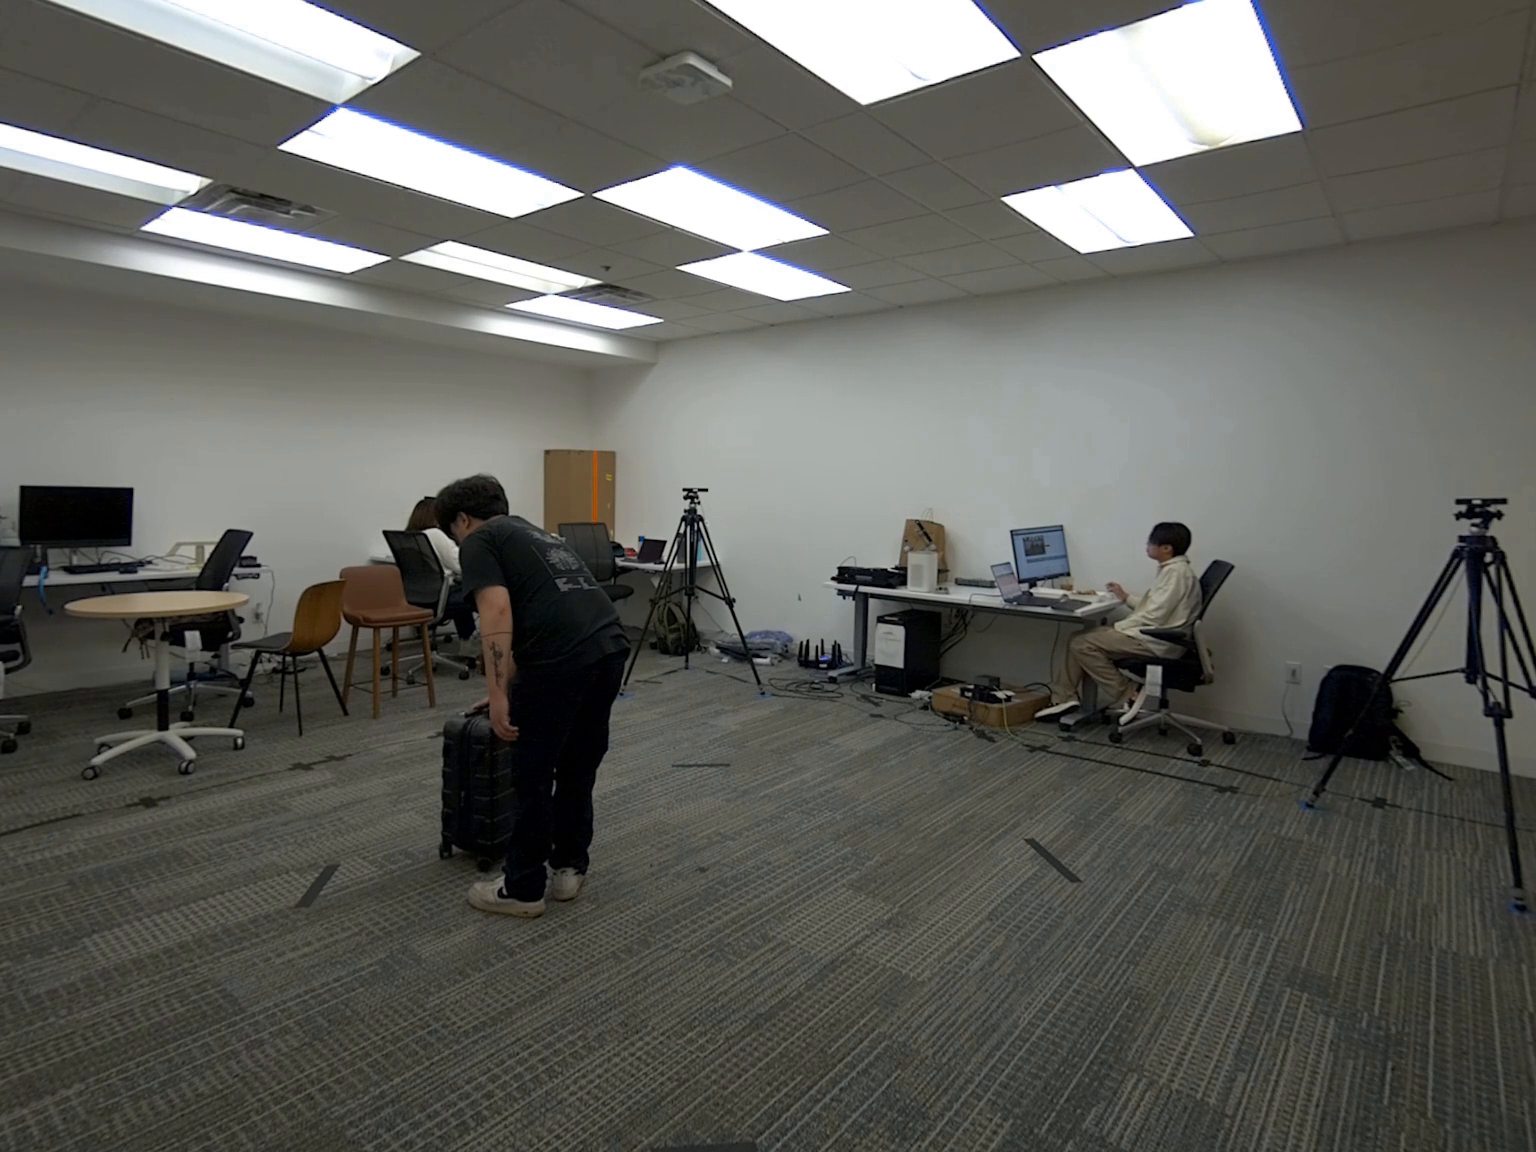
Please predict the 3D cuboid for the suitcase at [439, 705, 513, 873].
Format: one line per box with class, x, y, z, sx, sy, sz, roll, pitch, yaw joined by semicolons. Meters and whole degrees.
suitcase;-1.058;0.769;3.240;0.254;0.548;0.367;3;4;23
